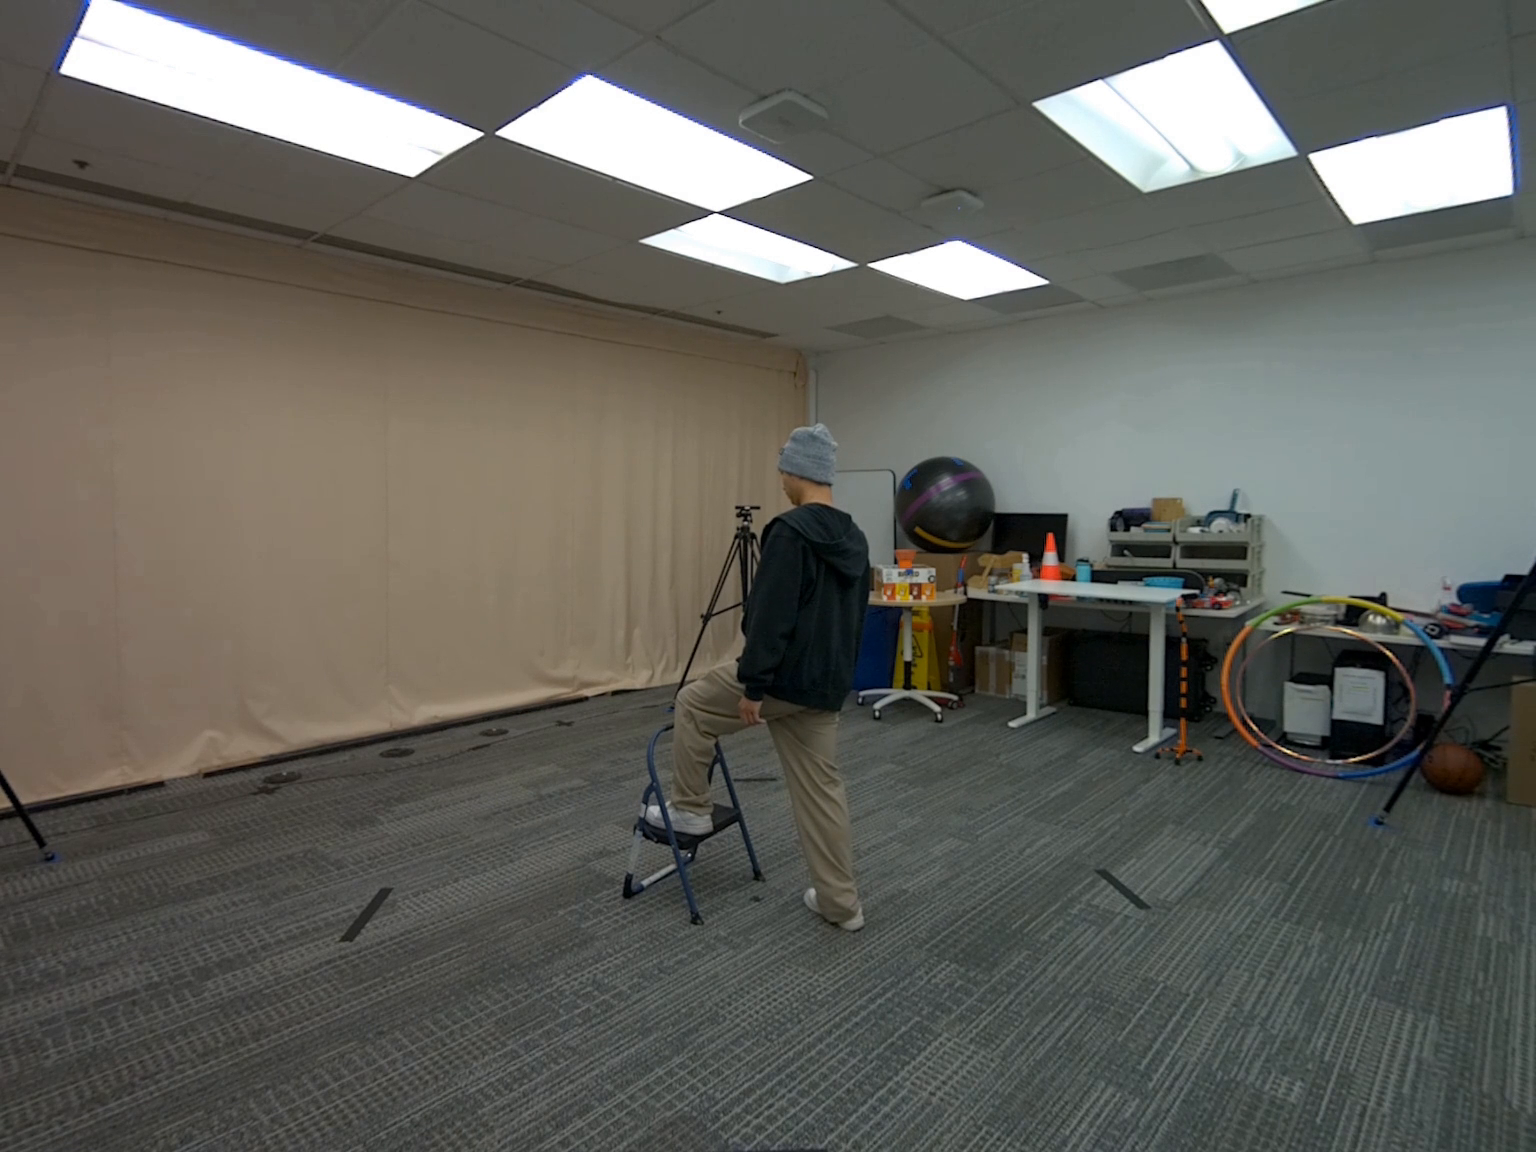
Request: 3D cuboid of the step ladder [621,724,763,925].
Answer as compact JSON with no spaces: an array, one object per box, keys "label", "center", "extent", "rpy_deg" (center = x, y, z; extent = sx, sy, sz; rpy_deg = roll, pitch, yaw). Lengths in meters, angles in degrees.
[{"label":"step ladder","center":[-0.269,0.839,3.056],"extent":[0.360,0.605,0.419],"rpy_deg":[1,4,33]}]
